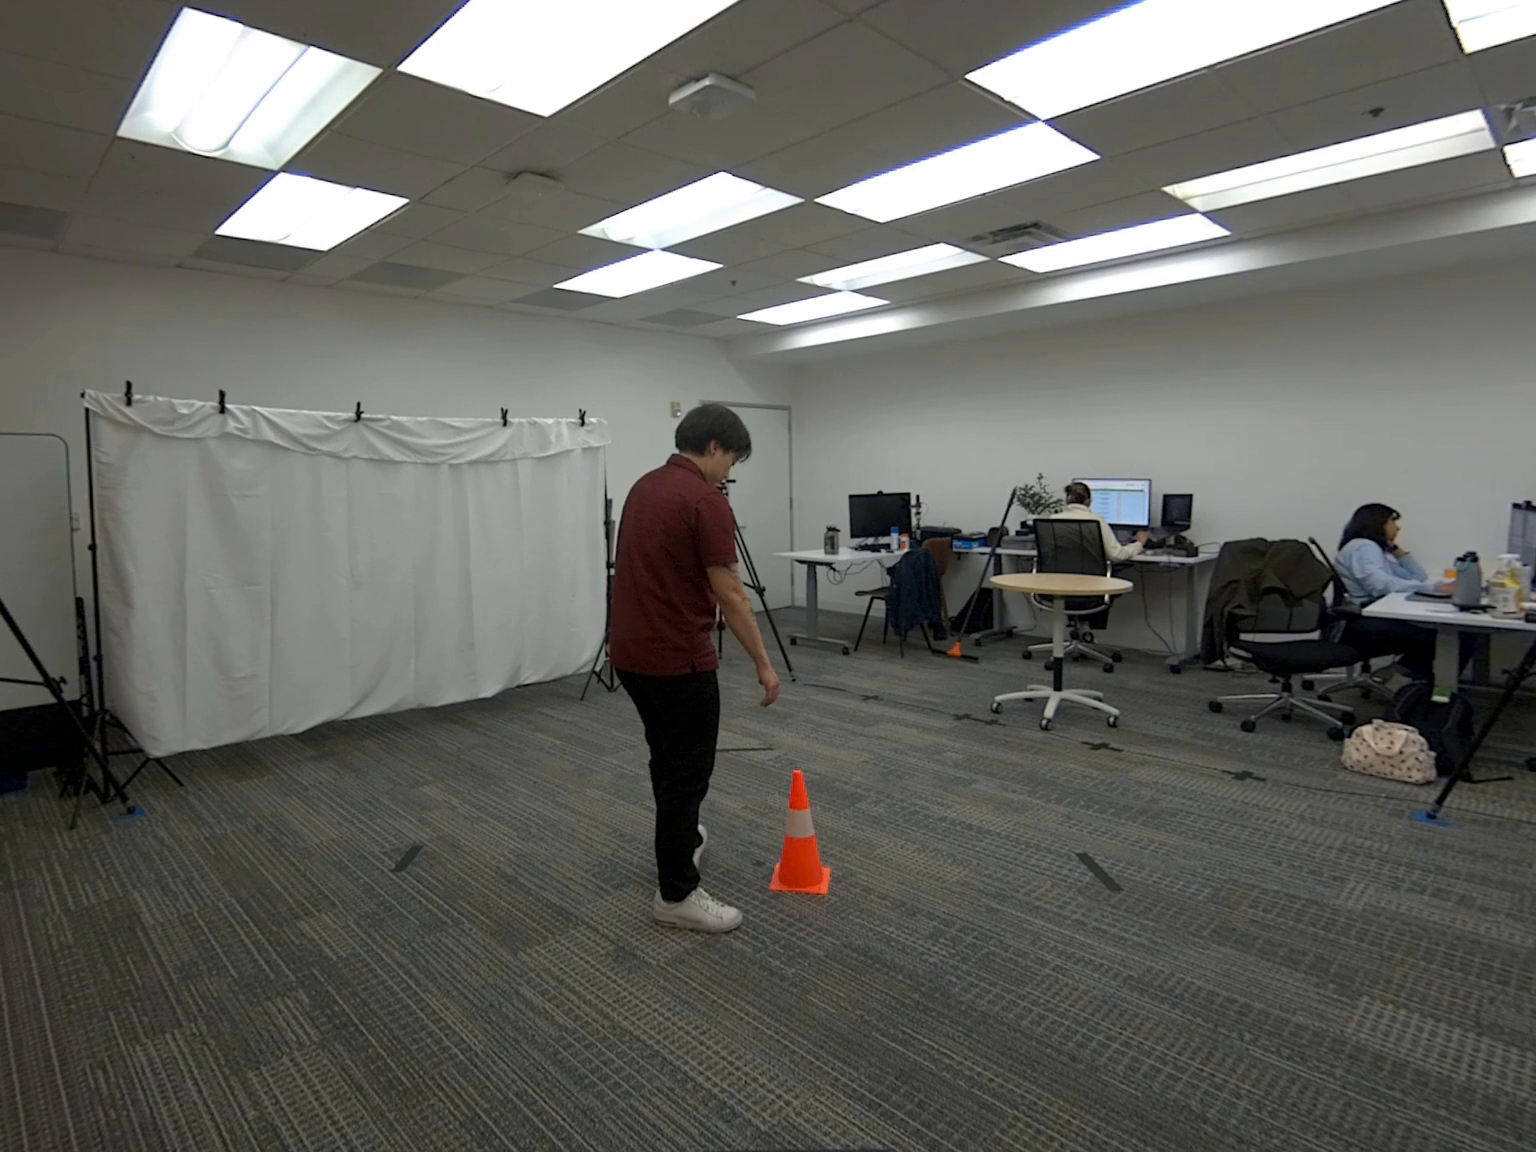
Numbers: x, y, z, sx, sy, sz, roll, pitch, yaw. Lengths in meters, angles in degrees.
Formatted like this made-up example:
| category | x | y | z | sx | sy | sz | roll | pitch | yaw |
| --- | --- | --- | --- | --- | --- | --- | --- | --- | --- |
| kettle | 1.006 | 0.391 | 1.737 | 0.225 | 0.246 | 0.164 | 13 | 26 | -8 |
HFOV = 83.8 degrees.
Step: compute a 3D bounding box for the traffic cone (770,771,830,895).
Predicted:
| category | x | y | z | sx | sy | sz | roll | pitch | yaw |
| --- | --- | --- | --- | --- | --- | --- | --- | --- | --- |
| traffic cone | 0.115 | 0.869 | 2.967 | 0.208 | 0.382 | 0.201 | 1 | 5 | 12 |
